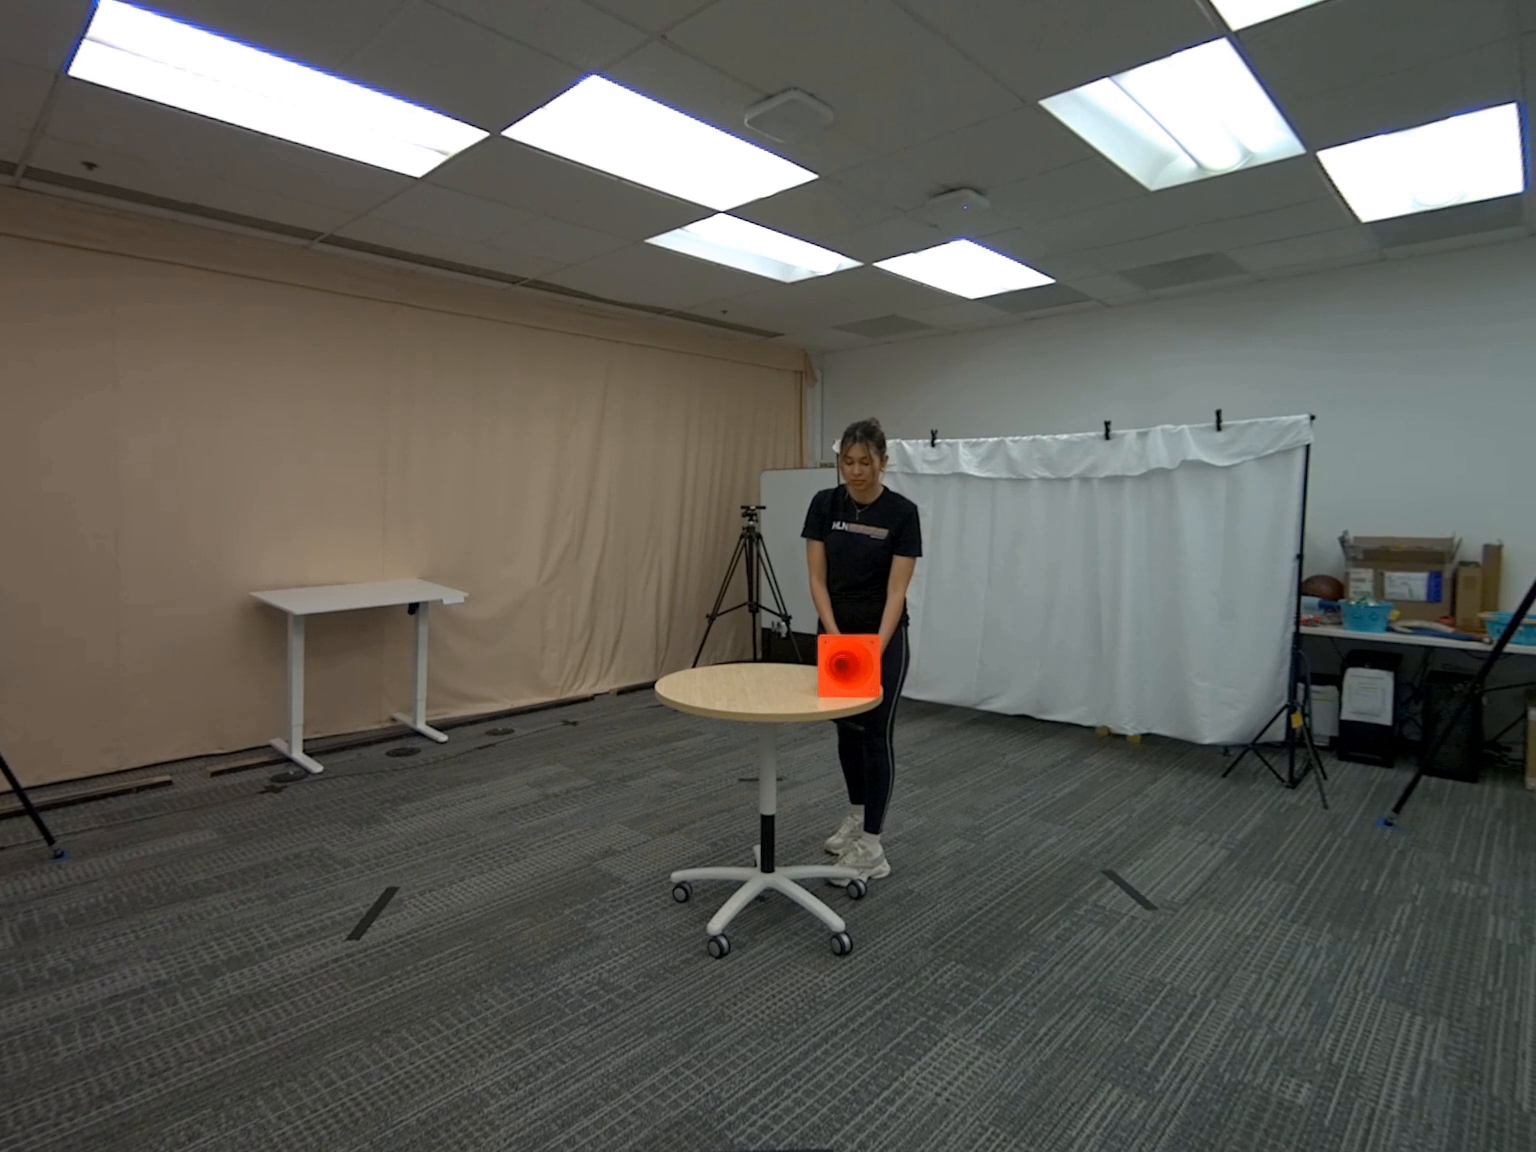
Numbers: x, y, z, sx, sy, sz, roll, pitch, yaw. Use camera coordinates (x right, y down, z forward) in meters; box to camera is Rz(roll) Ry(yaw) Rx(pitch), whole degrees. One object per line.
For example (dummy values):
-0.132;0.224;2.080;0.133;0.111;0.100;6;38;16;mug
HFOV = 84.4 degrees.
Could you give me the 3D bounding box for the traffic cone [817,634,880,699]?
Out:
0.281;0.306;2.873;0.203;0.206;0.382;-1;-5;-1;traffic cone
